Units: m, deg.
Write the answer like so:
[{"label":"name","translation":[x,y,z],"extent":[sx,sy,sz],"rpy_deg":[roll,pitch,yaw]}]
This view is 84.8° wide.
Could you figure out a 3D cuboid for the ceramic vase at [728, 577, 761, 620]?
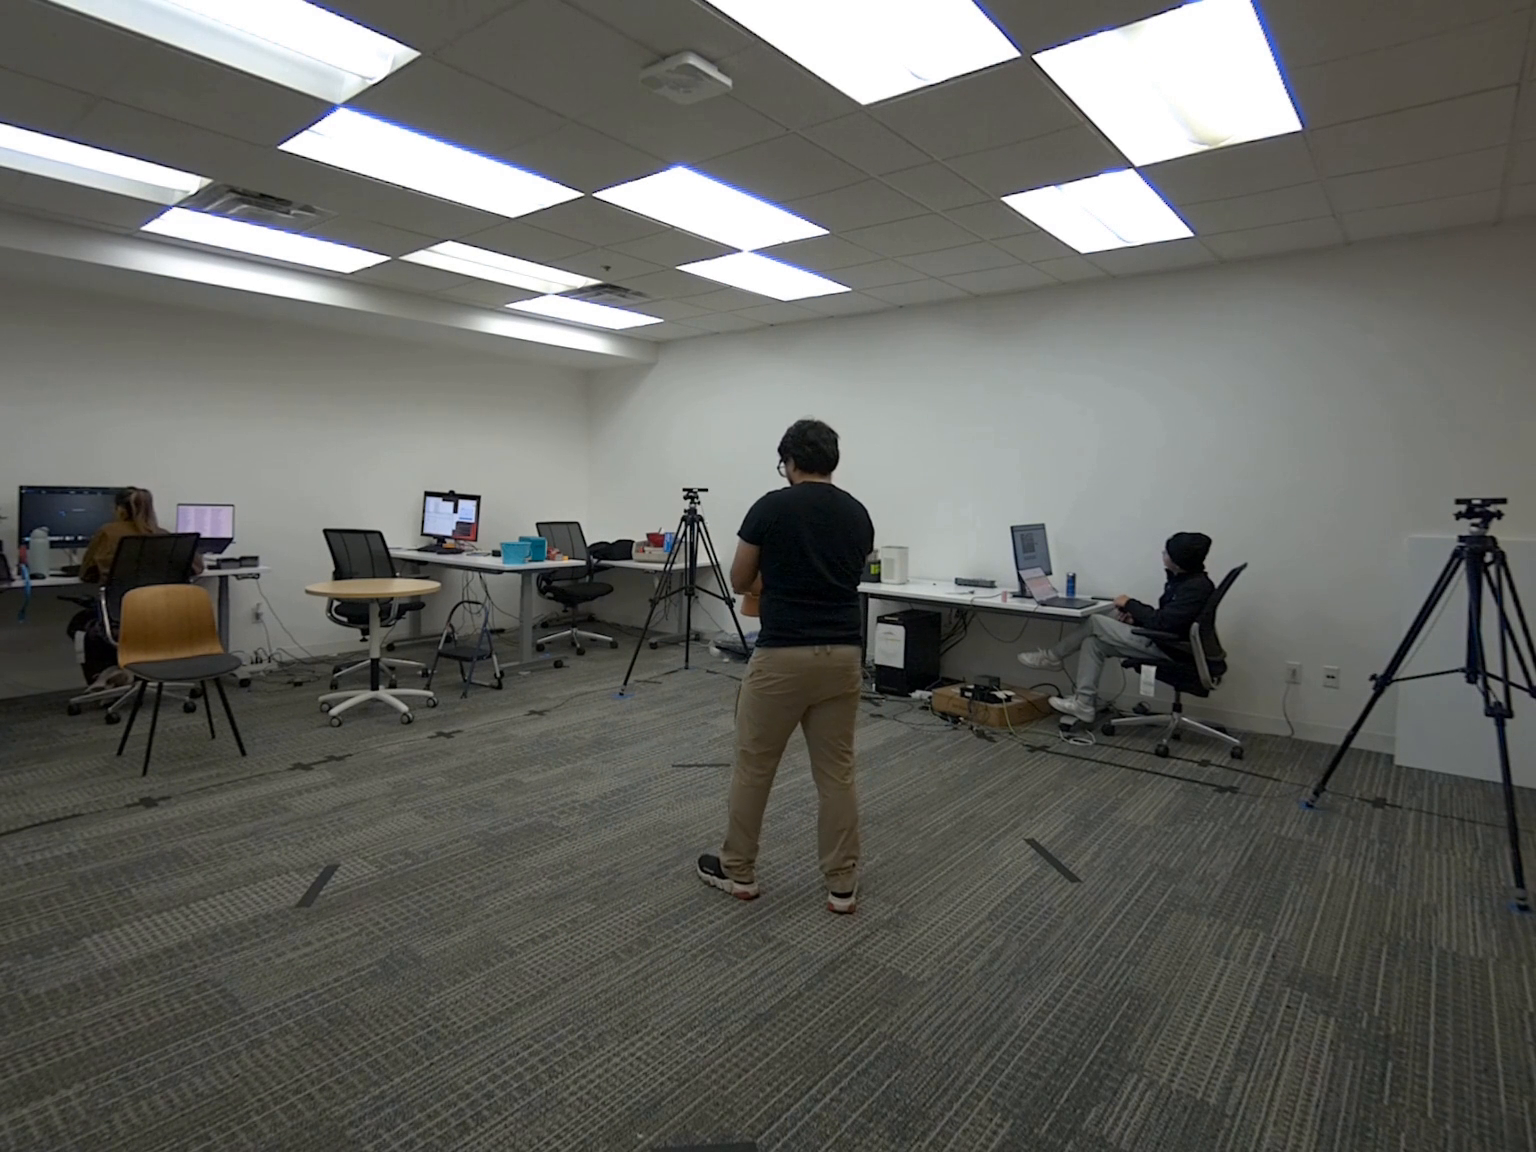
[{"label":"ceramic vase","translation":[-0.061,0.040,3.326],"extent":[0.132,0.218,0.163],"rpy_deg":[5,10,-15]}]
